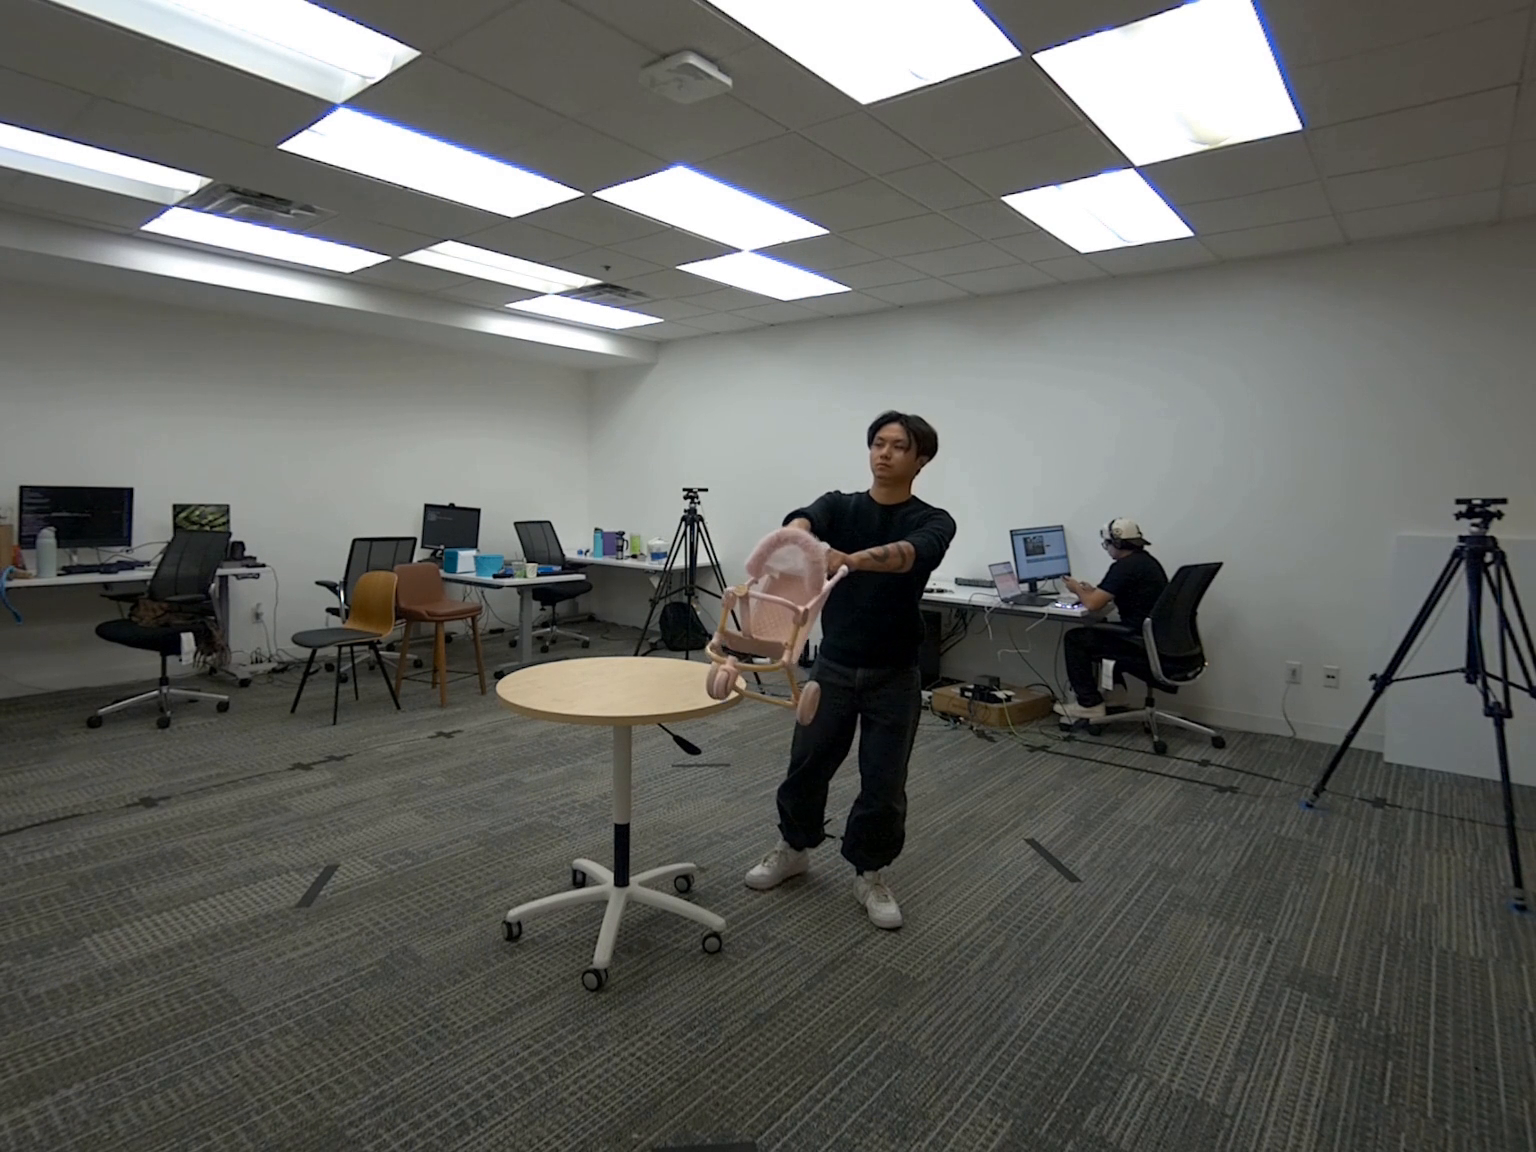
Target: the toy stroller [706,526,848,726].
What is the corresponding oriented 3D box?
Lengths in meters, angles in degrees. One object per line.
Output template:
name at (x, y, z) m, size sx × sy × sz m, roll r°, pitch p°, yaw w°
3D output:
toy stroller at (0.003, 0.107, 2.137) m, size 0.290 × 0.541 × 0.328 m, roll 8°, pitch -25°, yaw 27°
